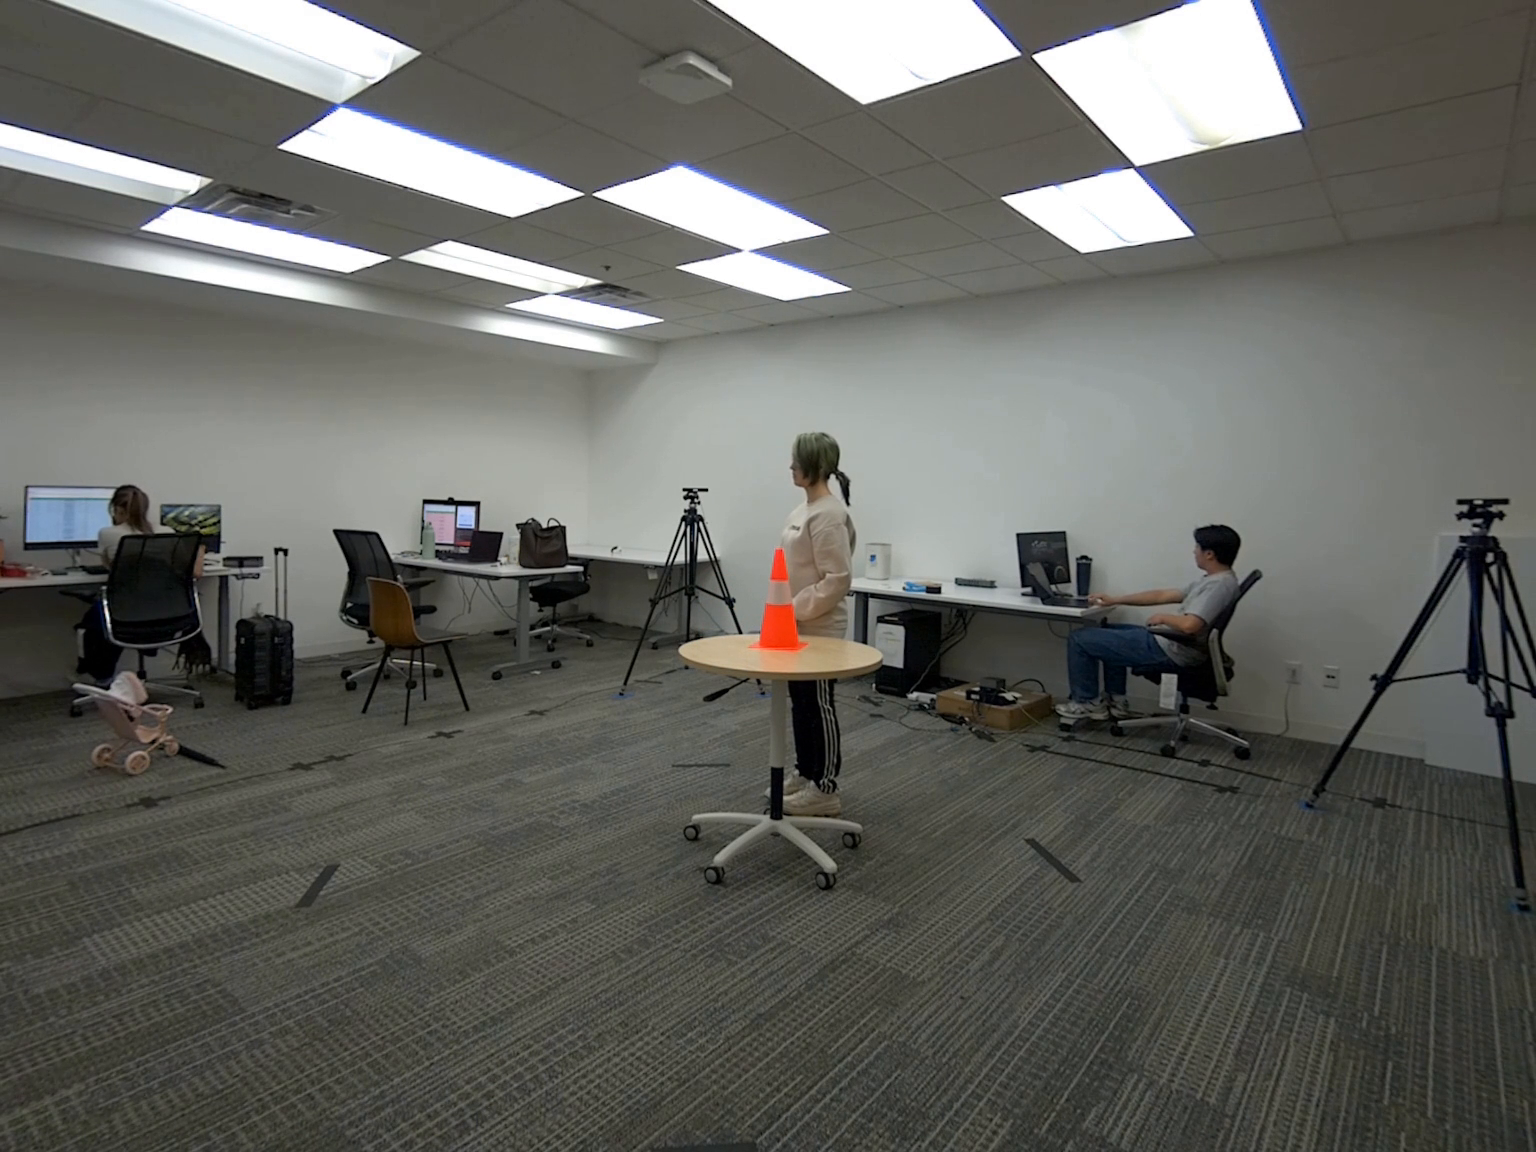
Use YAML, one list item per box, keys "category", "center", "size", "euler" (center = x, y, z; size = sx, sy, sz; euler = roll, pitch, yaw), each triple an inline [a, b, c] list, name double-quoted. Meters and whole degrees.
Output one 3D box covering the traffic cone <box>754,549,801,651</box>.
- category: "traffic cone"
  center: [0.034, 0.080, 3.329]
  size: [0.197, 0.383, 0.212]
  euler: [-1, 2, -43]
